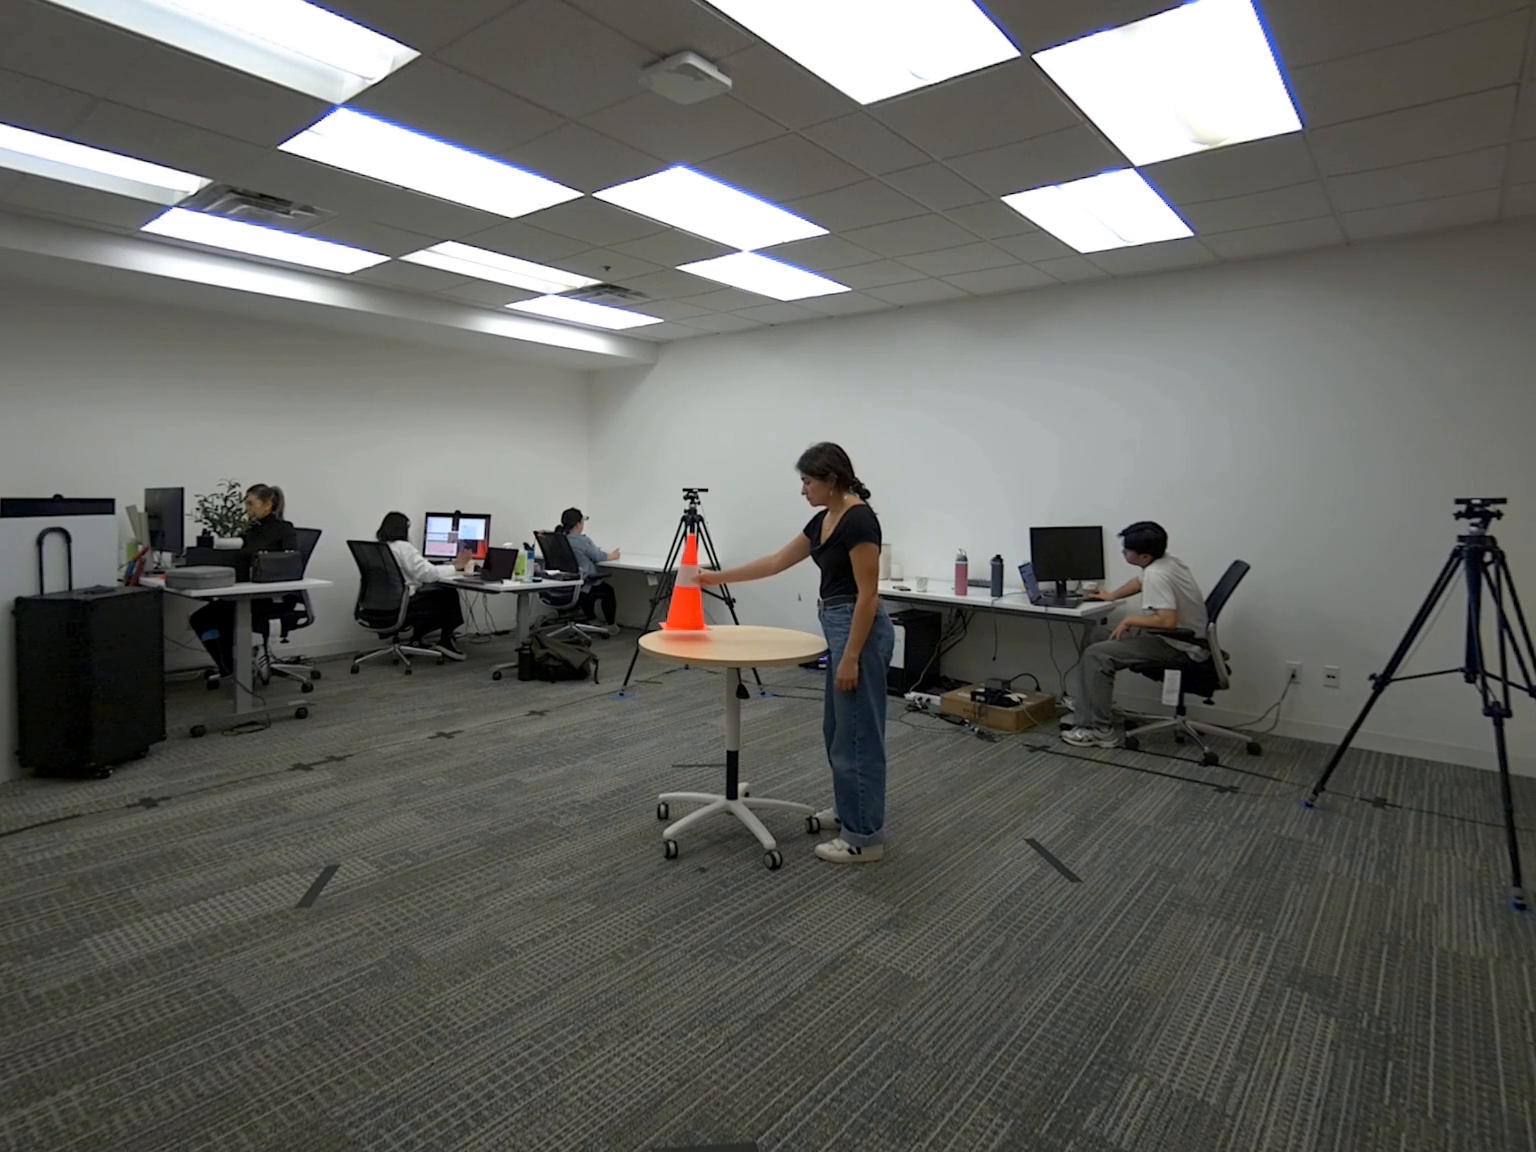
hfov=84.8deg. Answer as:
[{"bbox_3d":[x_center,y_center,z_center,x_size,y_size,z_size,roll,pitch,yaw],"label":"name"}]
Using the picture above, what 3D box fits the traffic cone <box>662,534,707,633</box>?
[{"bbox_3d":[-0.319,0.014,3.472,0.202,0.382,0.207,2,4,-13],"label":"traffic cone"}]
